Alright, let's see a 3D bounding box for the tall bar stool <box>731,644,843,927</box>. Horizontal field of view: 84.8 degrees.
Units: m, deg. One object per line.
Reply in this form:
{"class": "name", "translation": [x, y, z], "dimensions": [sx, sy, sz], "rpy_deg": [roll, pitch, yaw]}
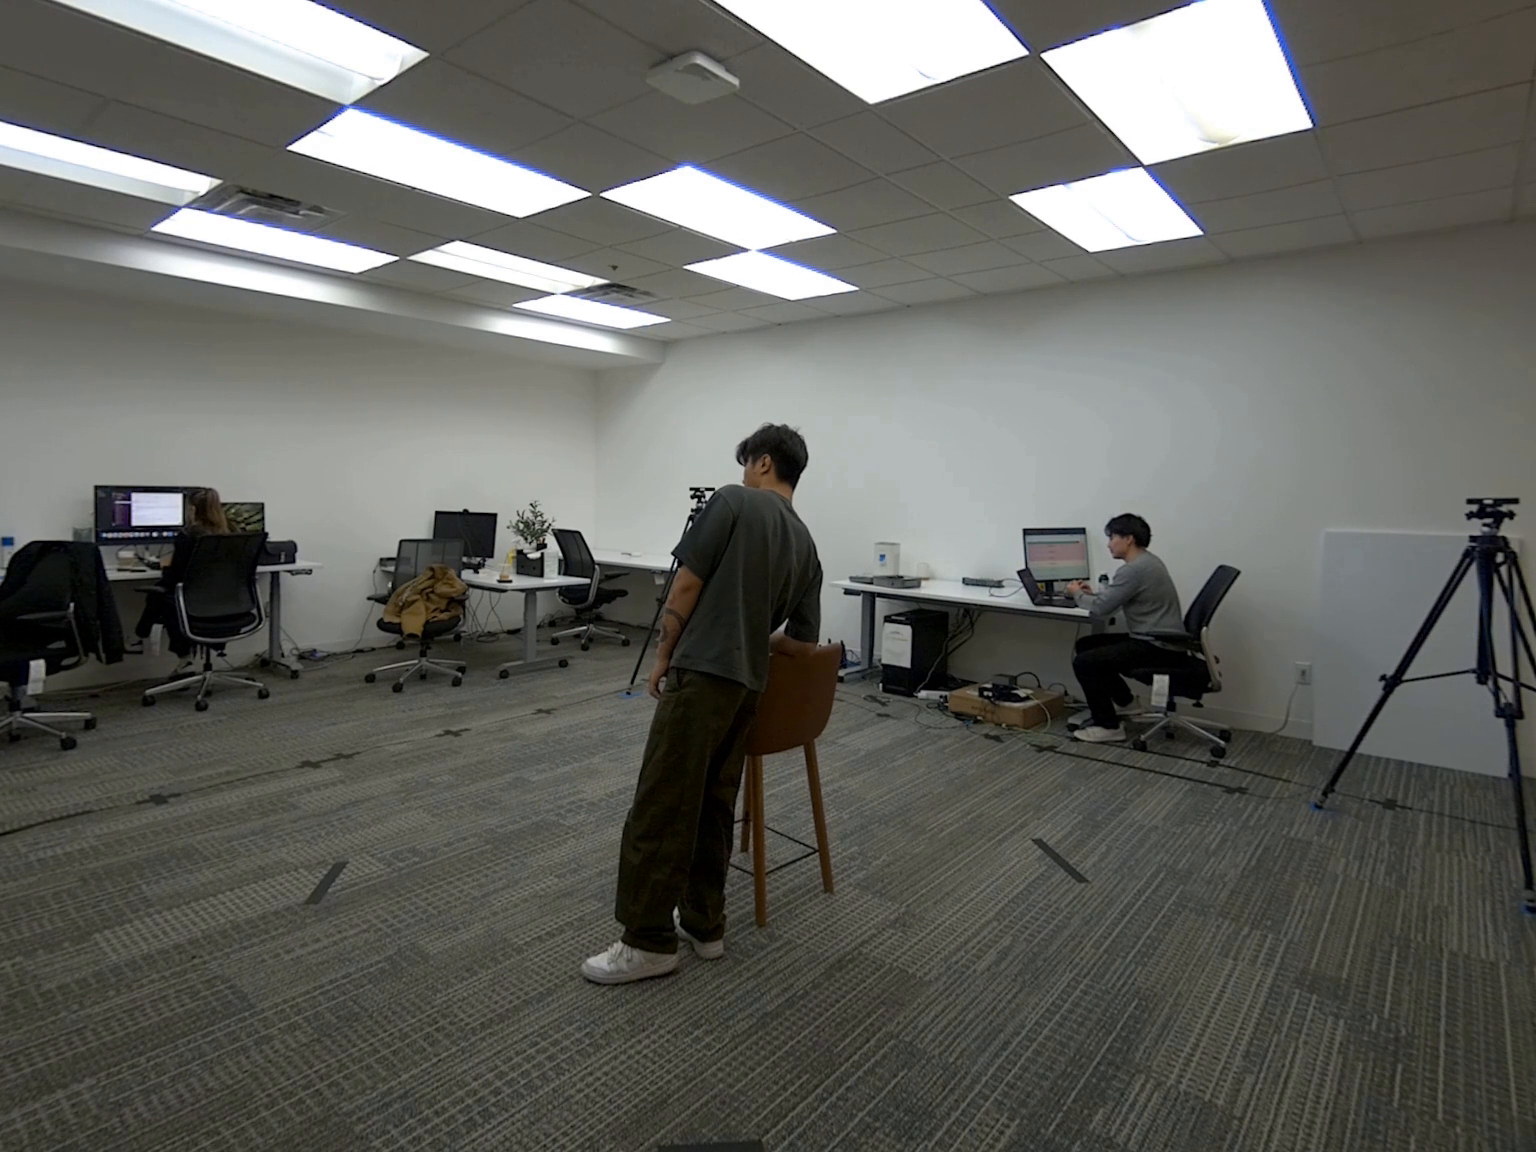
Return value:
{"class": "tall bar stool", "translation": [-0.047, 0.647, 2.960], "dimensions": [0.484, 0.886, 0.442], "rpy_deg": [8, 6, 44]}
